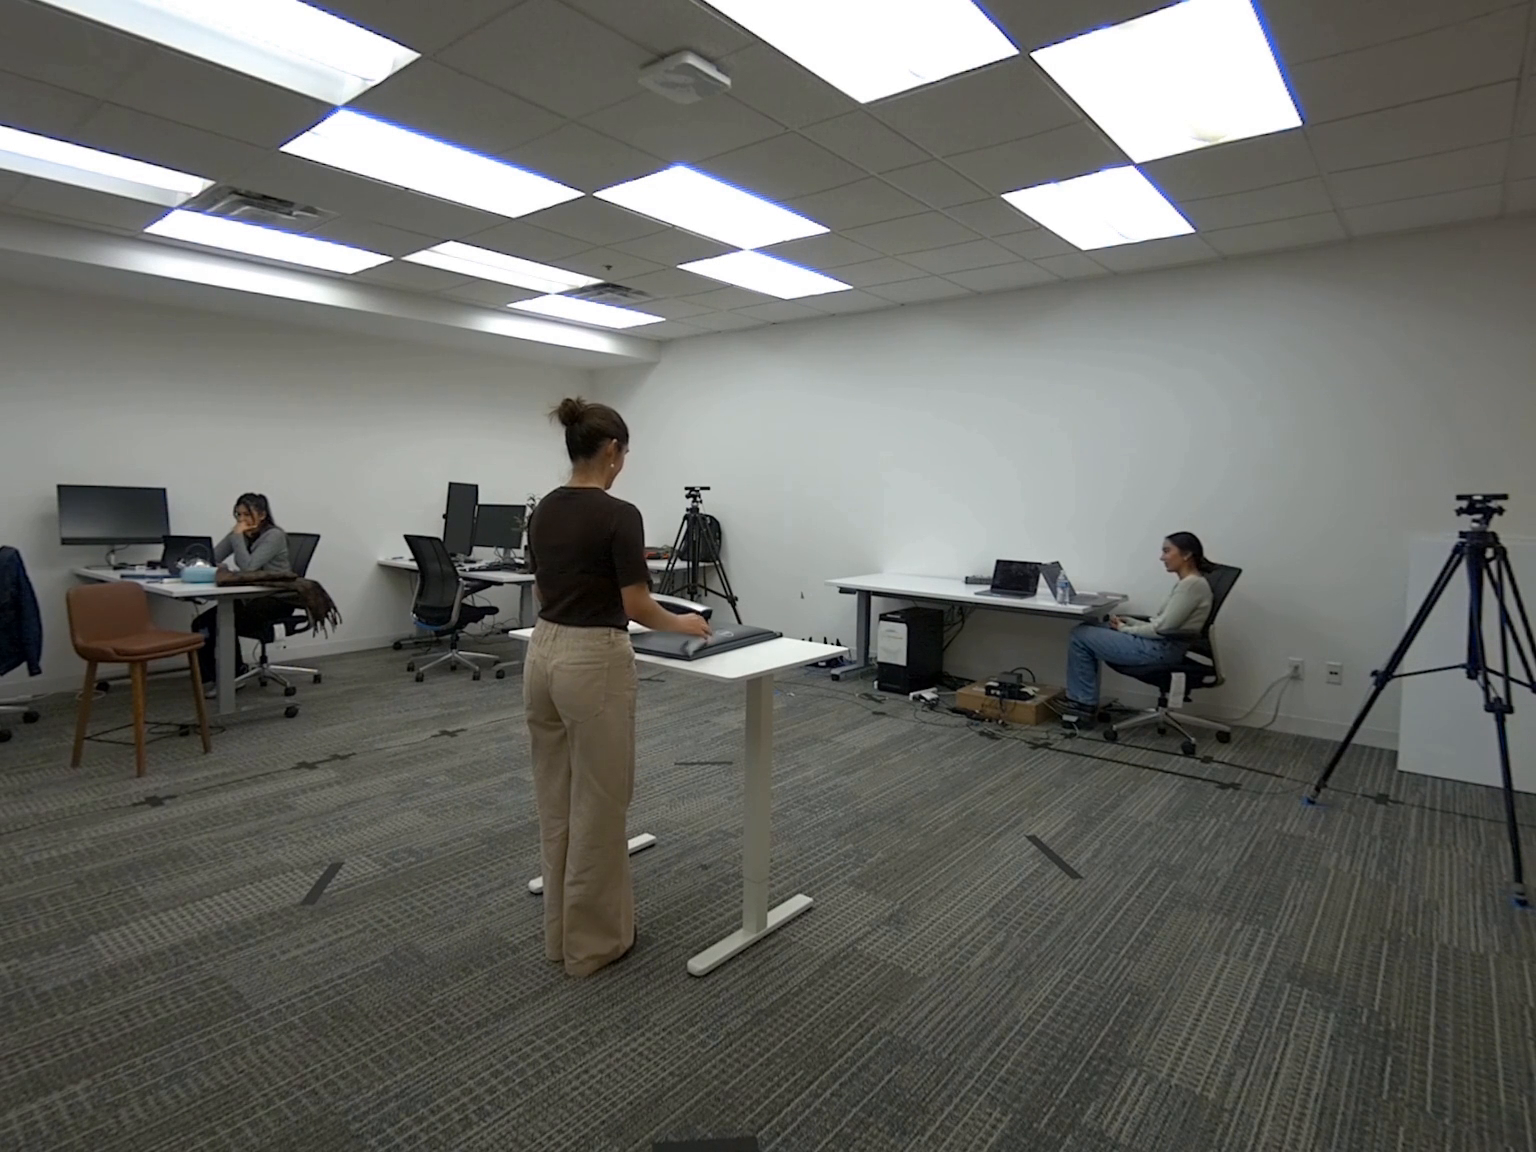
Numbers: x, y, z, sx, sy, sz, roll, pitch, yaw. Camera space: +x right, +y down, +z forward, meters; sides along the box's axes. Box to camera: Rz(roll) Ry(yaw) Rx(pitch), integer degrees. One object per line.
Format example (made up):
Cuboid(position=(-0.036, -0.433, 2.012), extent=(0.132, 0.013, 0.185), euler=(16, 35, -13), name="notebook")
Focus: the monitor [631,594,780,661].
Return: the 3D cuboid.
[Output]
Cuboid(position=(-0.311, 0.154, 2.845), extent=(0.542, 0.185, 0.525), euler=(19, 17, 32), name="monitor")
